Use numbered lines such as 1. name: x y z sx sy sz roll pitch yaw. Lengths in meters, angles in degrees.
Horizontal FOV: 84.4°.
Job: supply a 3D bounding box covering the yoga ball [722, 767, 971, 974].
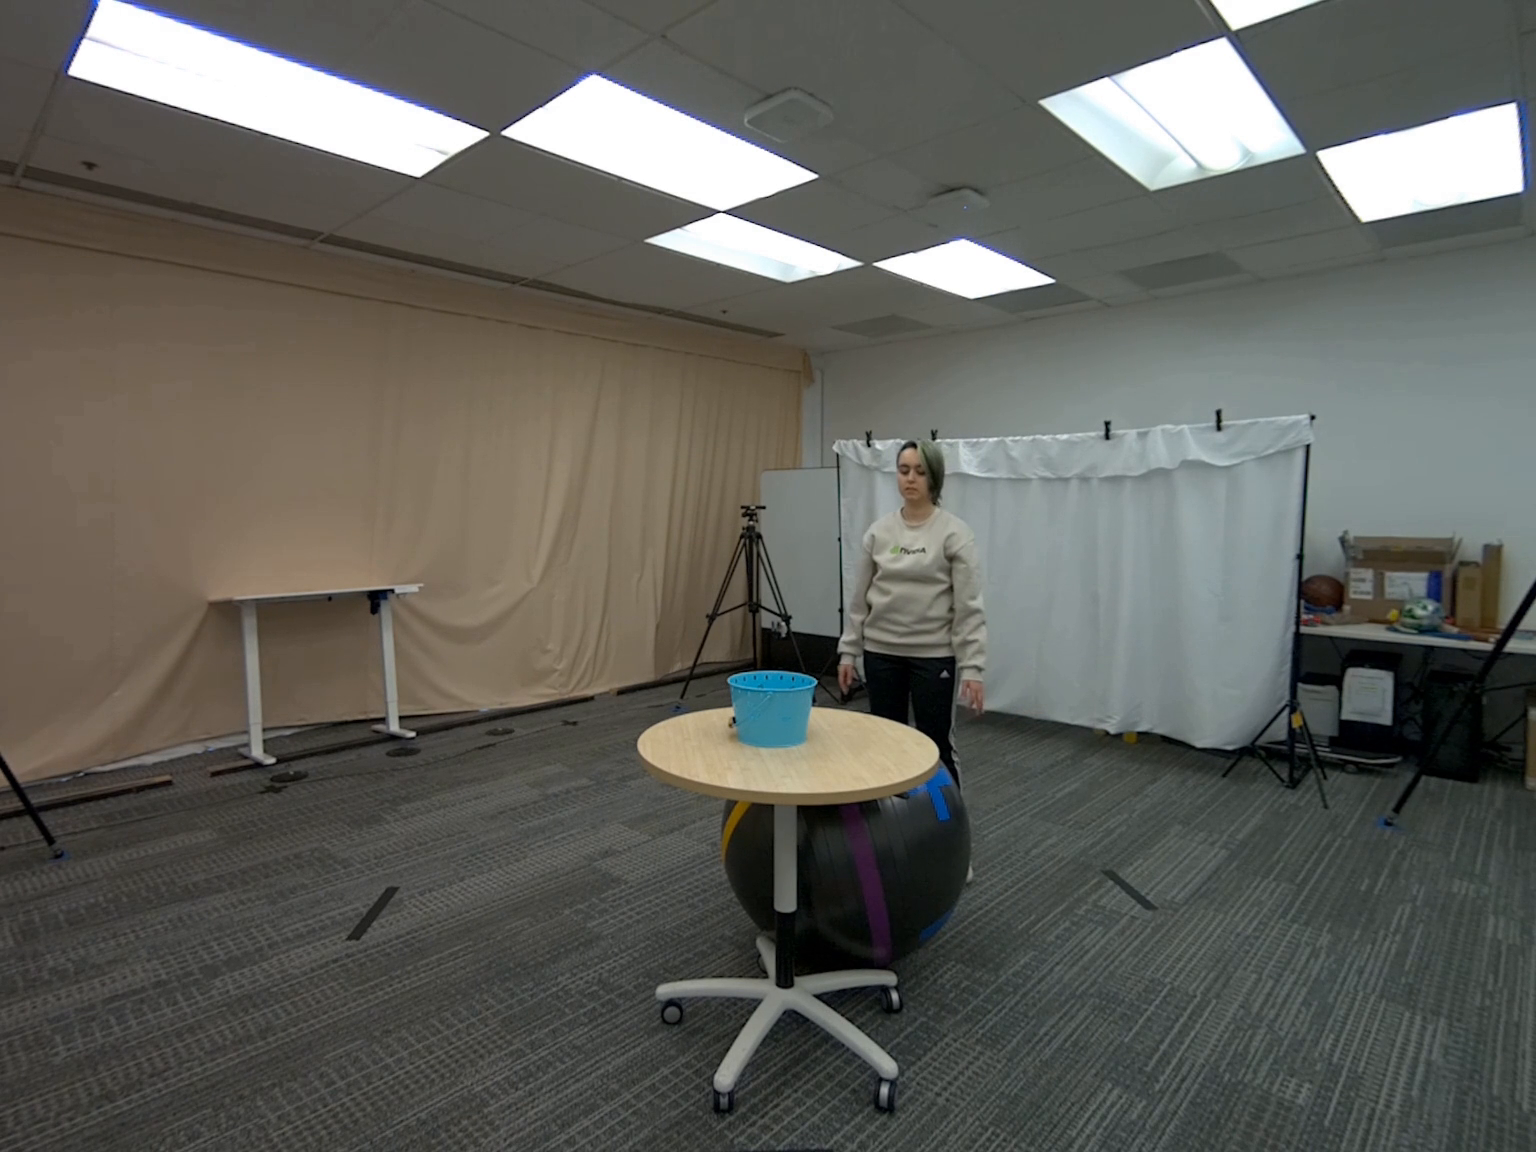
1. yoga ball: 0.232 0.804 2.613 0.757 0.756 0.761 0 4 -2
